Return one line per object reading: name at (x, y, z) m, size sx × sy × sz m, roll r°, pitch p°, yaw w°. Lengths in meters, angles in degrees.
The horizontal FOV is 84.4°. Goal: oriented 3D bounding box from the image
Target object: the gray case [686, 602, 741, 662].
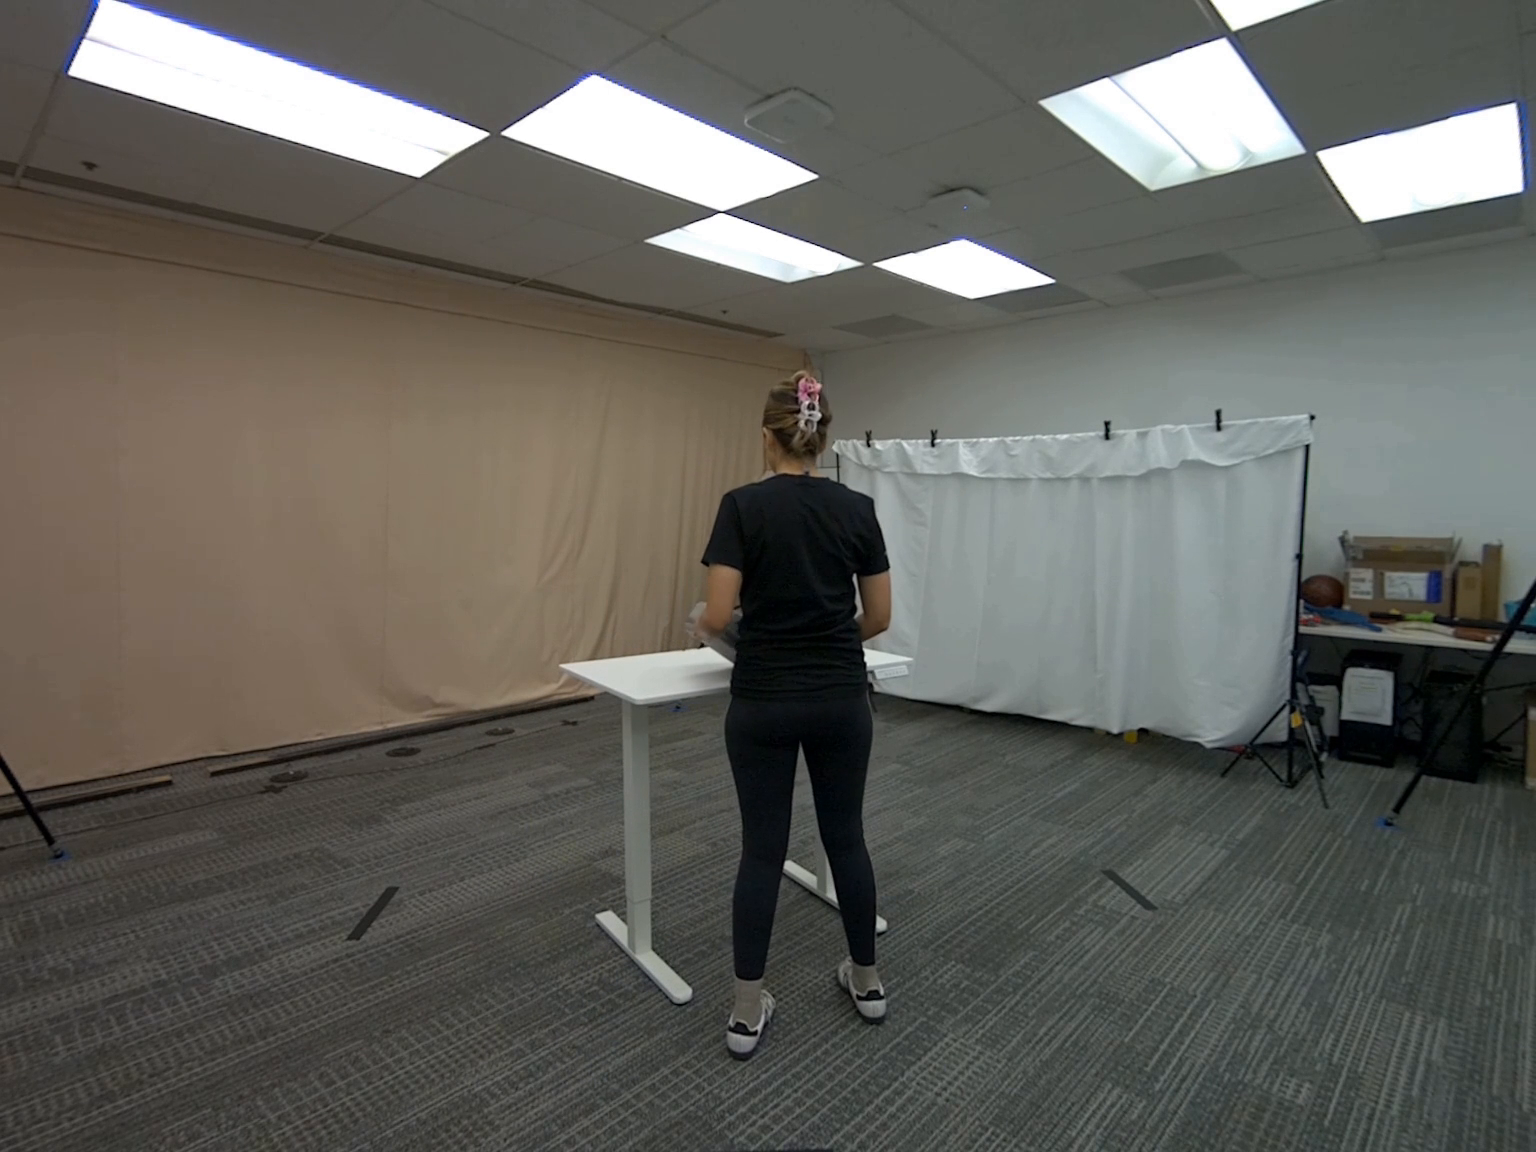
gray case at (-0.094, 0.191, 2.530) m, size 0.249 × 0.104 × 0.268 m, roll 39°, pitch -16°, yaw -28°
